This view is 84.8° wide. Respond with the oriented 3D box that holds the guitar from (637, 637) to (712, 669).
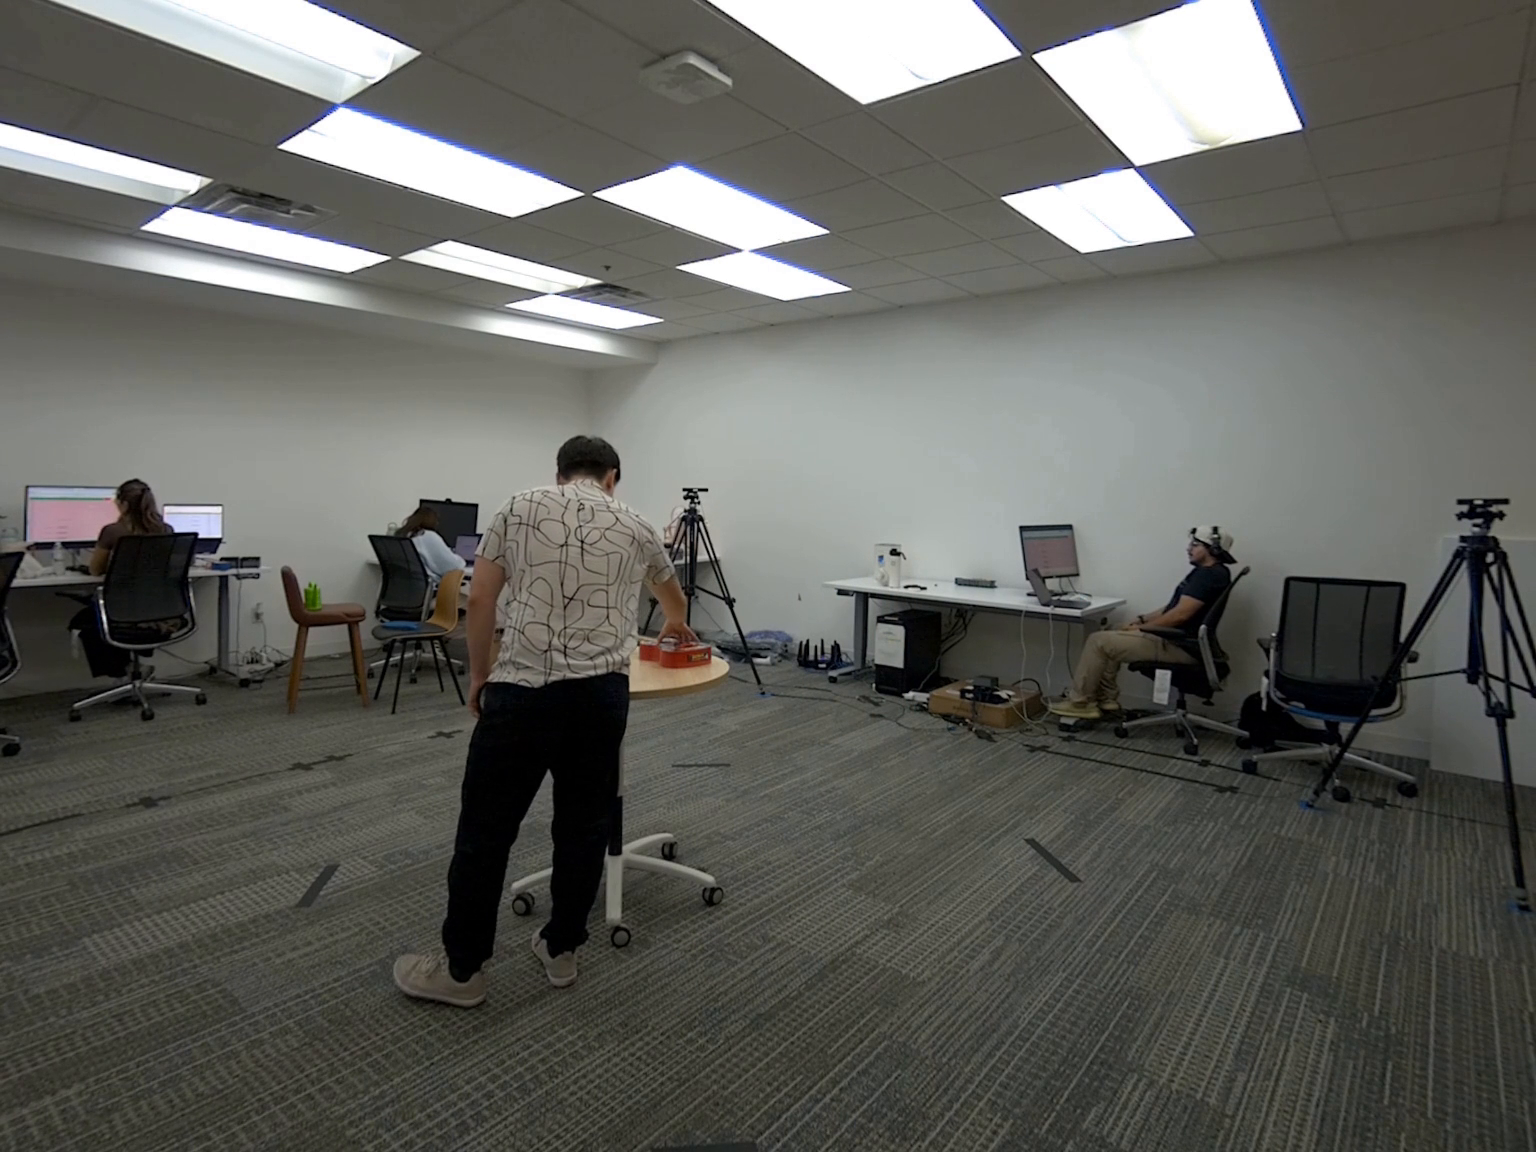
[{"bbox_3d":[-0.407,0.255,3.073,0.187,0.070,0.514,-3,6,-35],"label":"guitar"}]
